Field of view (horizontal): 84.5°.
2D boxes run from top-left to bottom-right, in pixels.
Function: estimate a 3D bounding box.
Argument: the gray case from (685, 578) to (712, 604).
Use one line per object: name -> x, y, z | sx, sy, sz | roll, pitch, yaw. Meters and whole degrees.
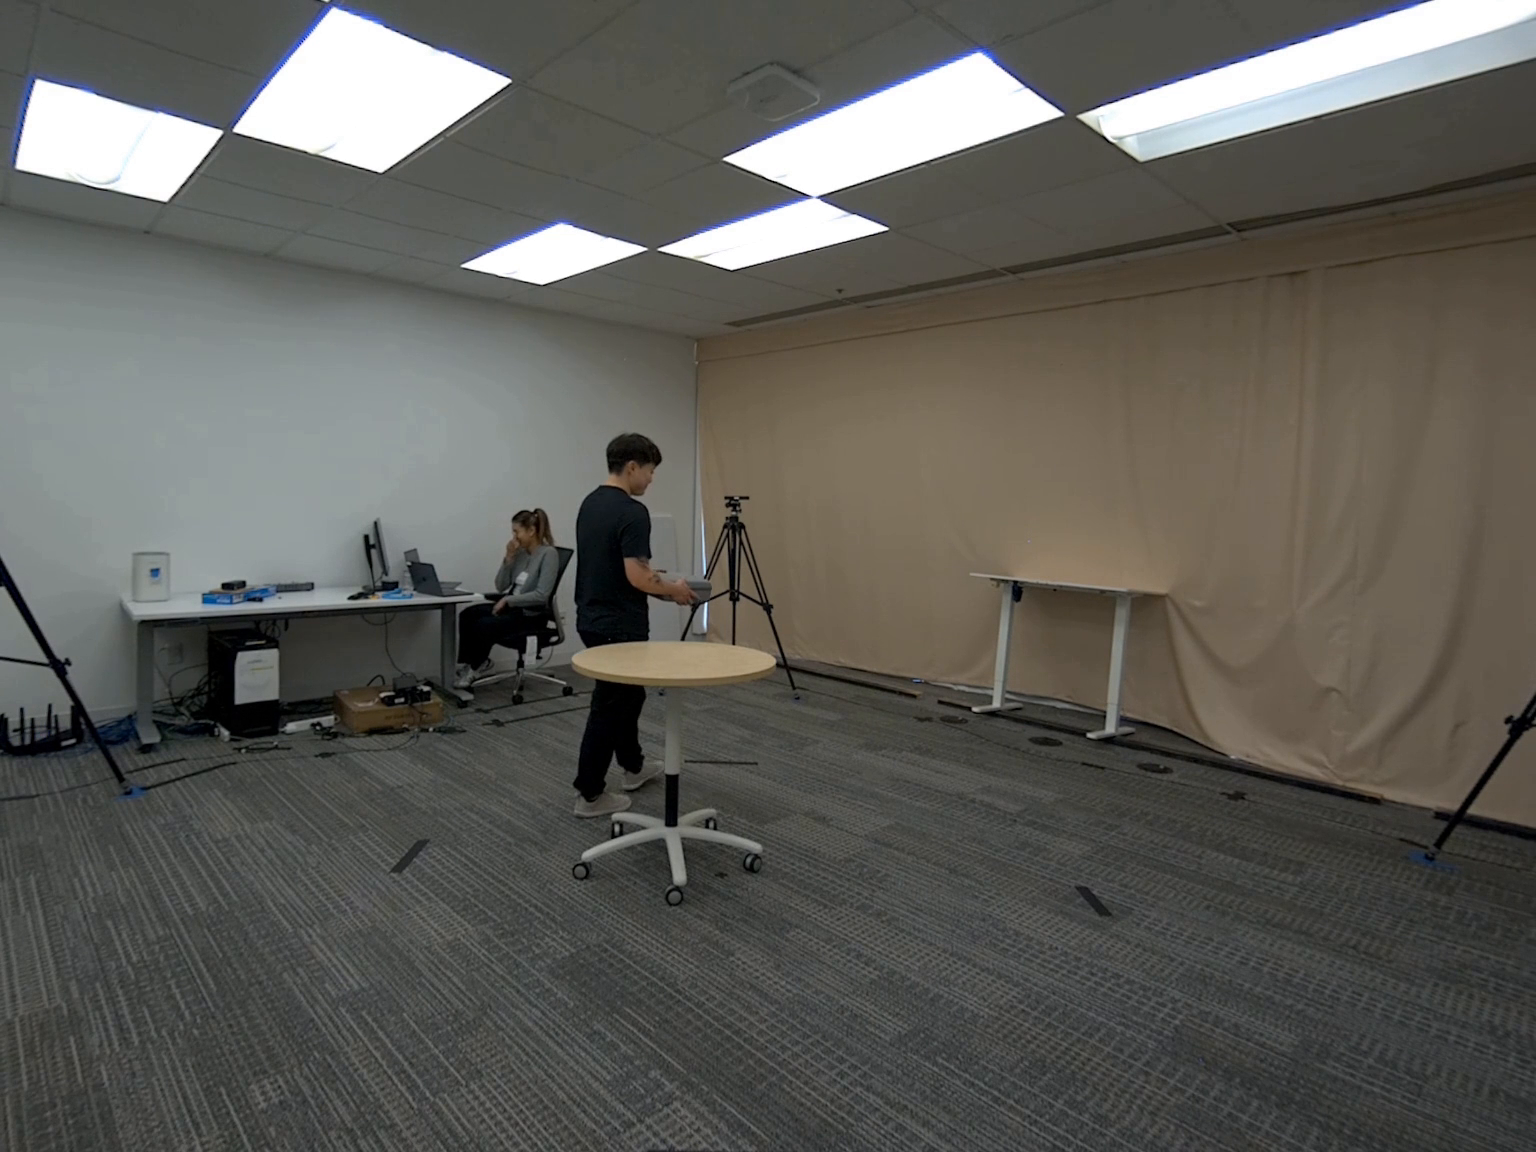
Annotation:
gray case -> -0.432, 0.052, 3.856 | 0.255, 0.104, 0.263 | 3, 6, -32
